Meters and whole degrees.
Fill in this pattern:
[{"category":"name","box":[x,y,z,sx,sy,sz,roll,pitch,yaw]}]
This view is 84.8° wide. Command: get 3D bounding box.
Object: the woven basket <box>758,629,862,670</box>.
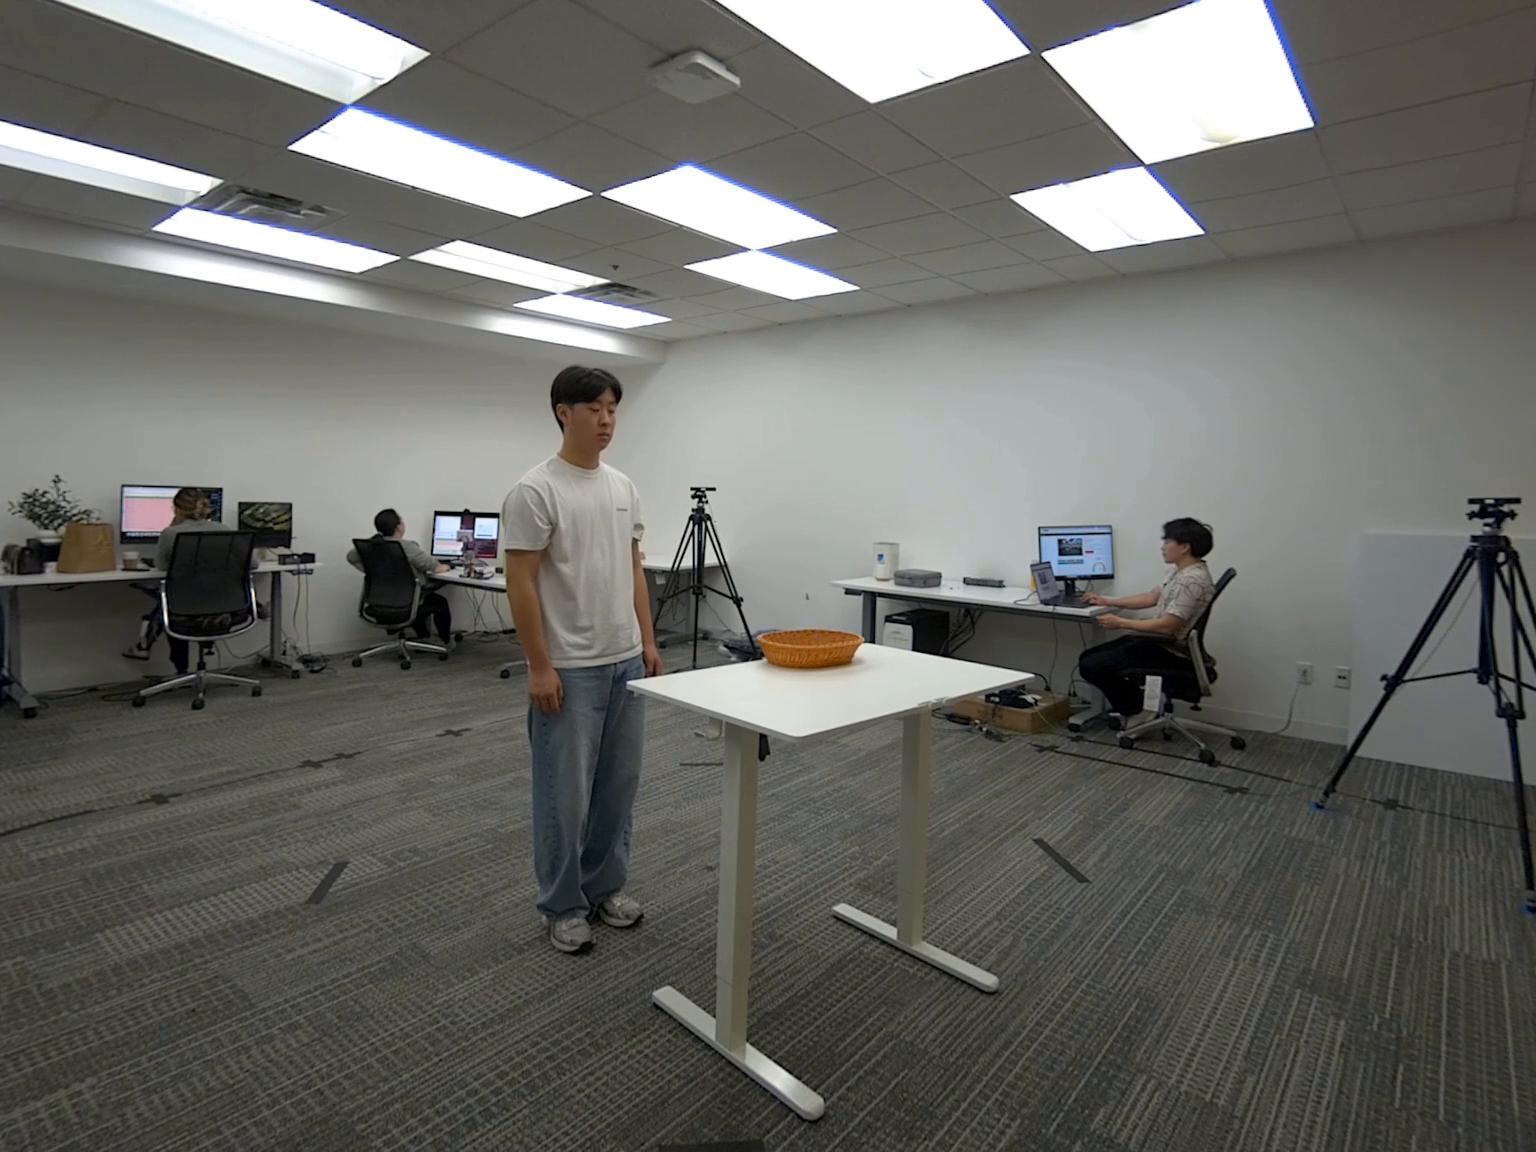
[{"category":"woven basket","box":[0.114,0.219,2.504,0.340,0.073,0.260,-1,6,-32]}]
